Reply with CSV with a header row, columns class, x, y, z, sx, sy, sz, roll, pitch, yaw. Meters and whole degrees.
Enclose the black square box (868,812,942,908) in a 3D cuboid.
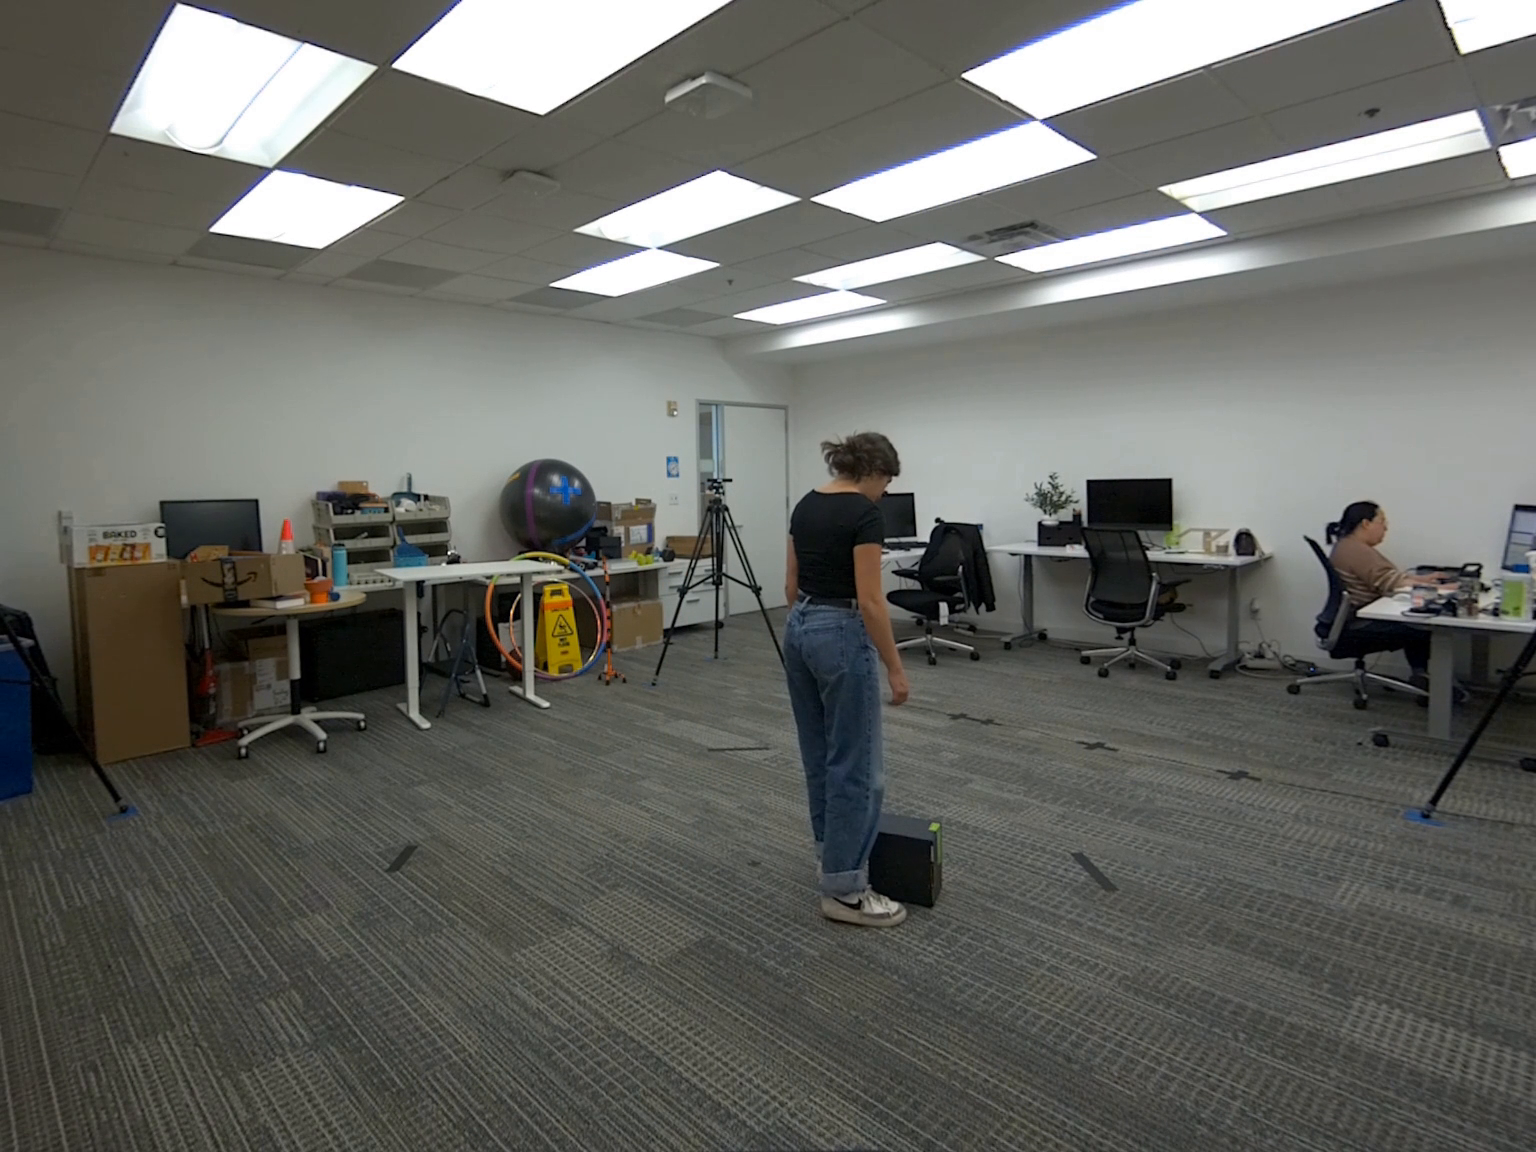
class,x,y,z,sx,sy,sz,roll,pitch,yaw
black square box,0.465,0.942,2.862,0.222,0.227,0.153,1,6,25
